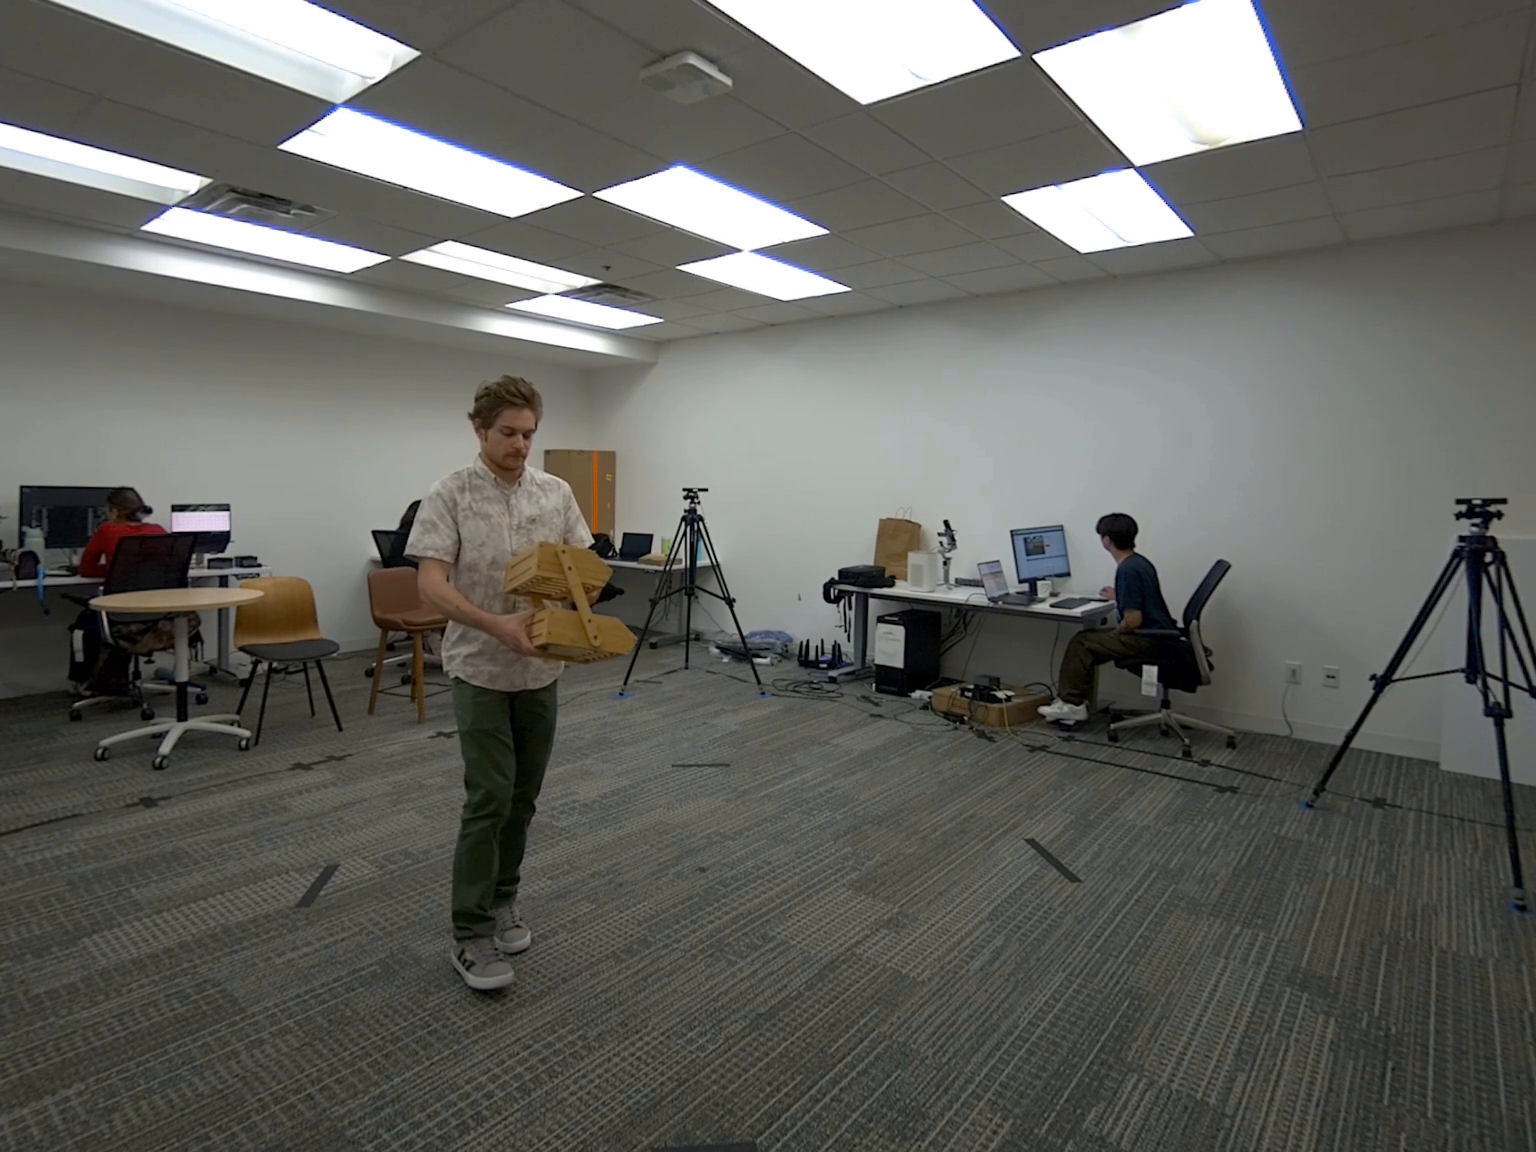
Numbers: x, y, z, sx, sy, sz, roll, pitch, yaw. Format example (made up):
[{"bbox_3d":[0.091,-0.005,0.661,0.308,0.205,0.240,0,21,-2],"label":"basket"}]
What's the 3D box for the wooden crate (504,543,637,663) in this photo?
[{"bbox_3d":[-0.548,0.078,2.359,0.292,0.277,0.330,12,-18,-30],"label":"wooden crate"}]
